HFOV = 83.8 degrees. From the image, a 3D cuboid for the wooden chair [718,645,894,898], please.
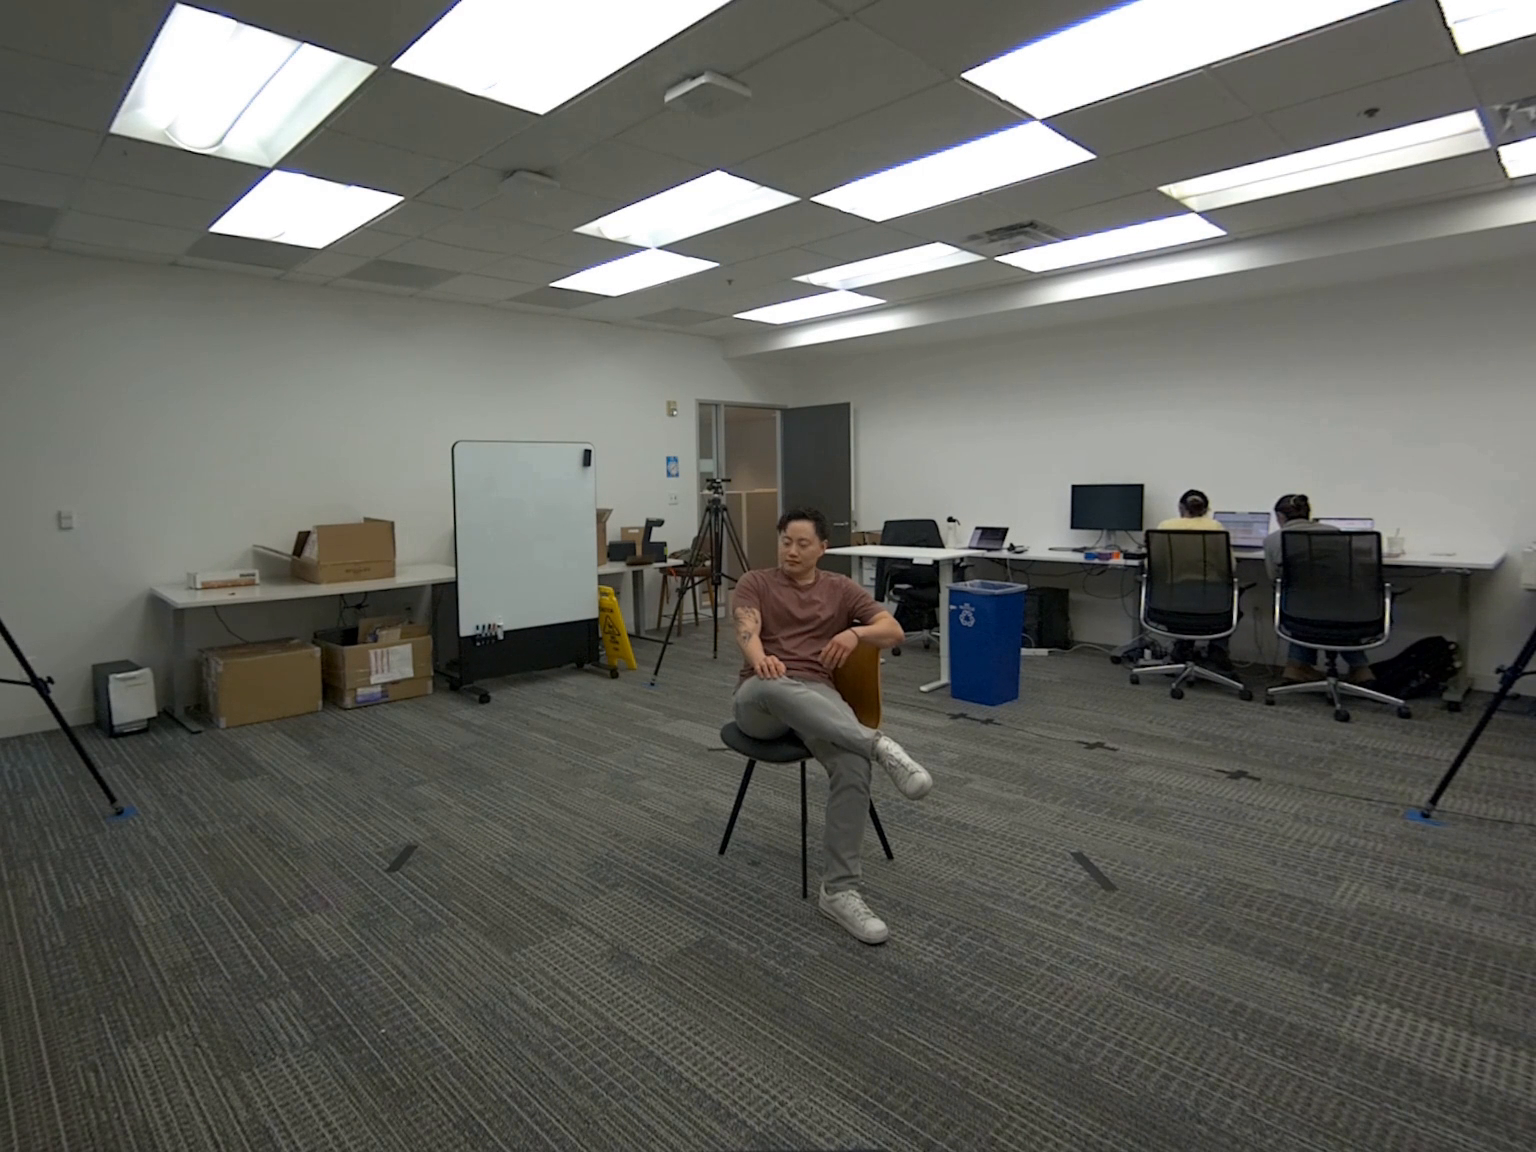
[{"bbox_3d":[0.125,0.613,3.117,0.508,0.877,0.492,1,1,-41],"label":"wooden chair"}]
